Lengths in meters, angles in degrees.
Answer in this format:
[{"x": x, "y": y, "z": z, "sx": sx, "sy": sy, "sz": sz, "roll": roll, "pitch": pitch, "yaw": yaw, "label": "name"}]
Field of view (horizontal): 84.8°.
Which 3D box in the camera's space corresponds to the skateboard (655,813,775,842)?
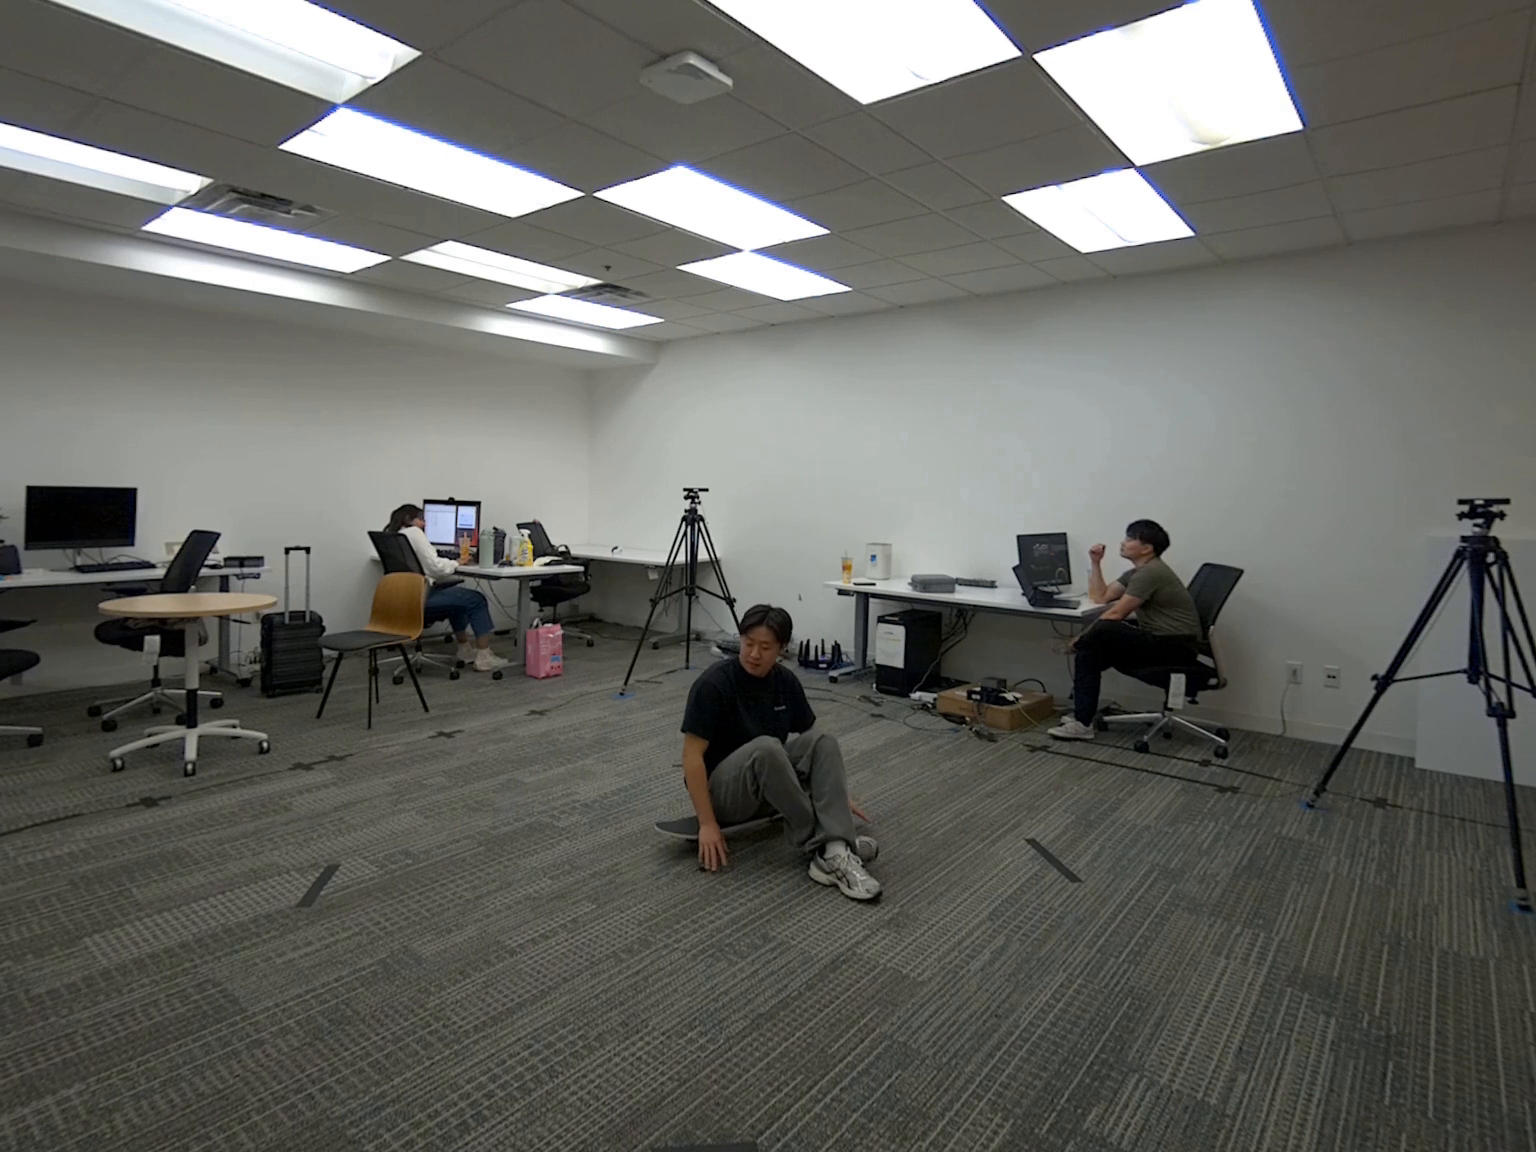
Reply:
[{"x": -0.107, "y": 0.986, "z": 3.425, "sx": 0.763, "sy": 0.110, "sz": 0.199, "roll": -3, "pitch": 2, "yaw": -36, "label": "skateboard"}]
